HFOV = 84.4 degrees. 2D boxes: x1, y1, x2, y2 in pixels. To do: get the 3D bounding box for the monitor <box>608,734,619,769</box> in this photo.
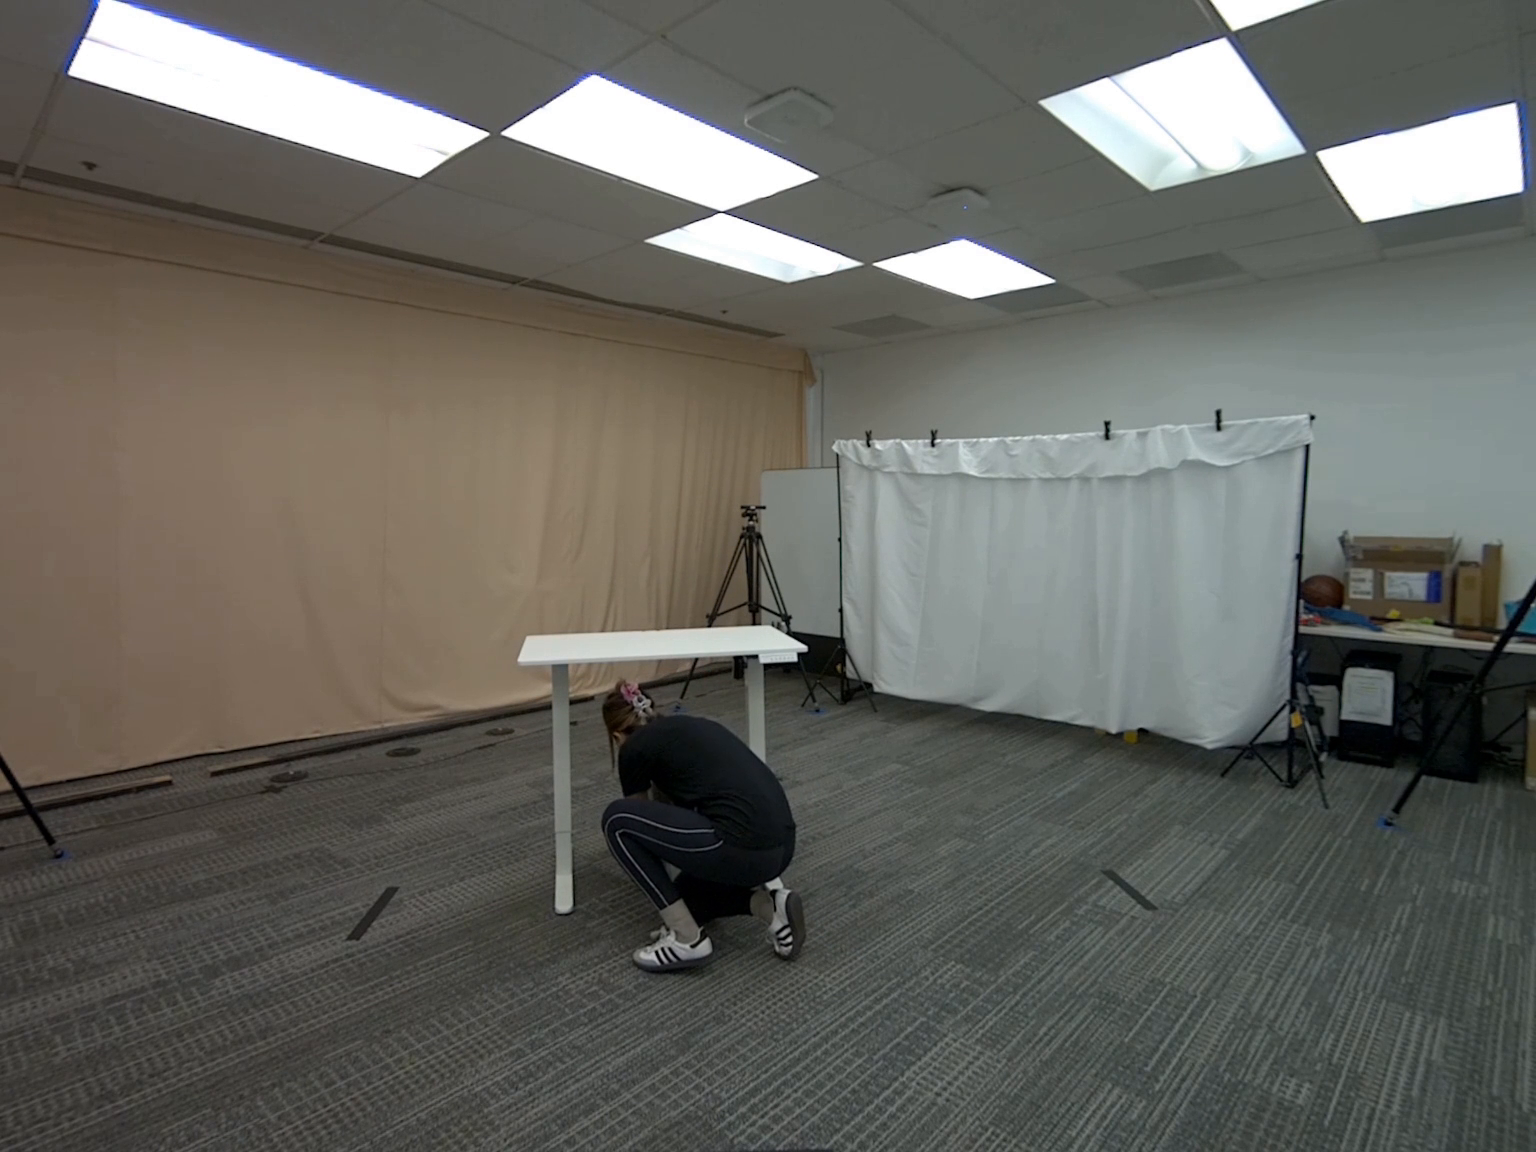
[{"bbox_3d":[-0.395,0.839,3.189,0.181,0.523,0.555,-4,-3,-44],"label":"monitor"}]
